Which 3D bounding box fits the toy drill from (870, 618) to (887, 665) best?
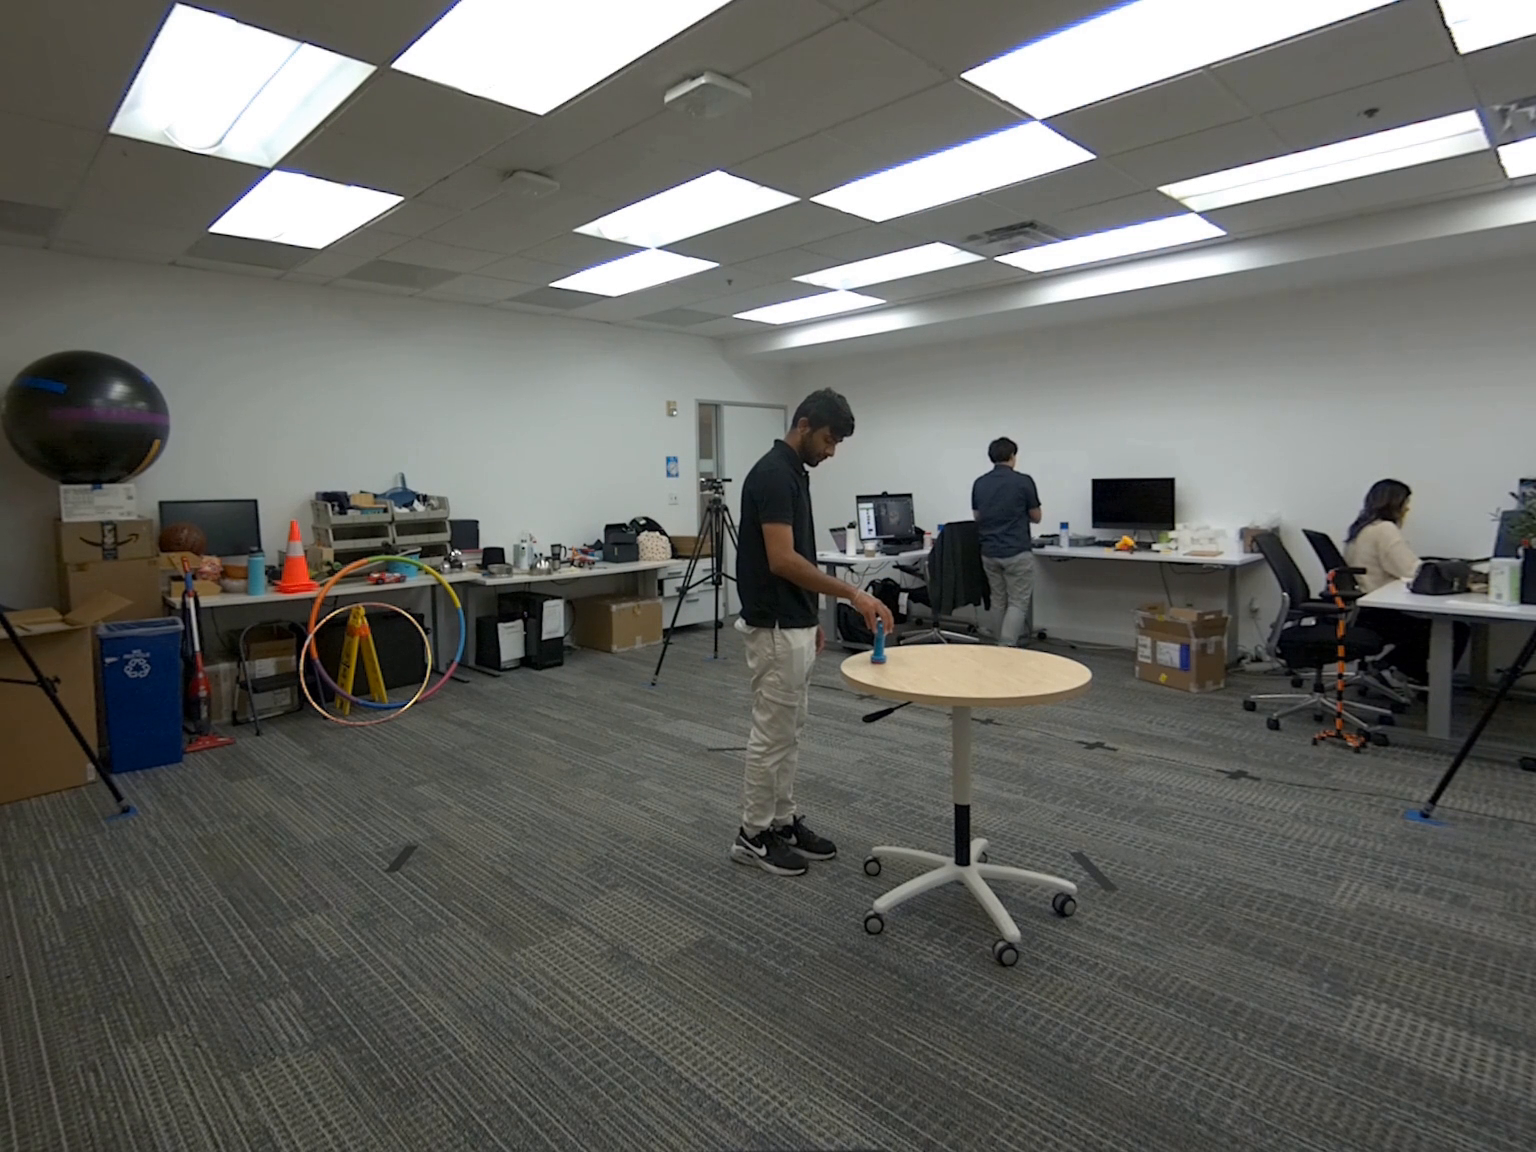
[{"bbox_3d":[0.386,0.207,2.860,0.062,0.145,0.169,2,10,12],"label":"toy drill"}]
